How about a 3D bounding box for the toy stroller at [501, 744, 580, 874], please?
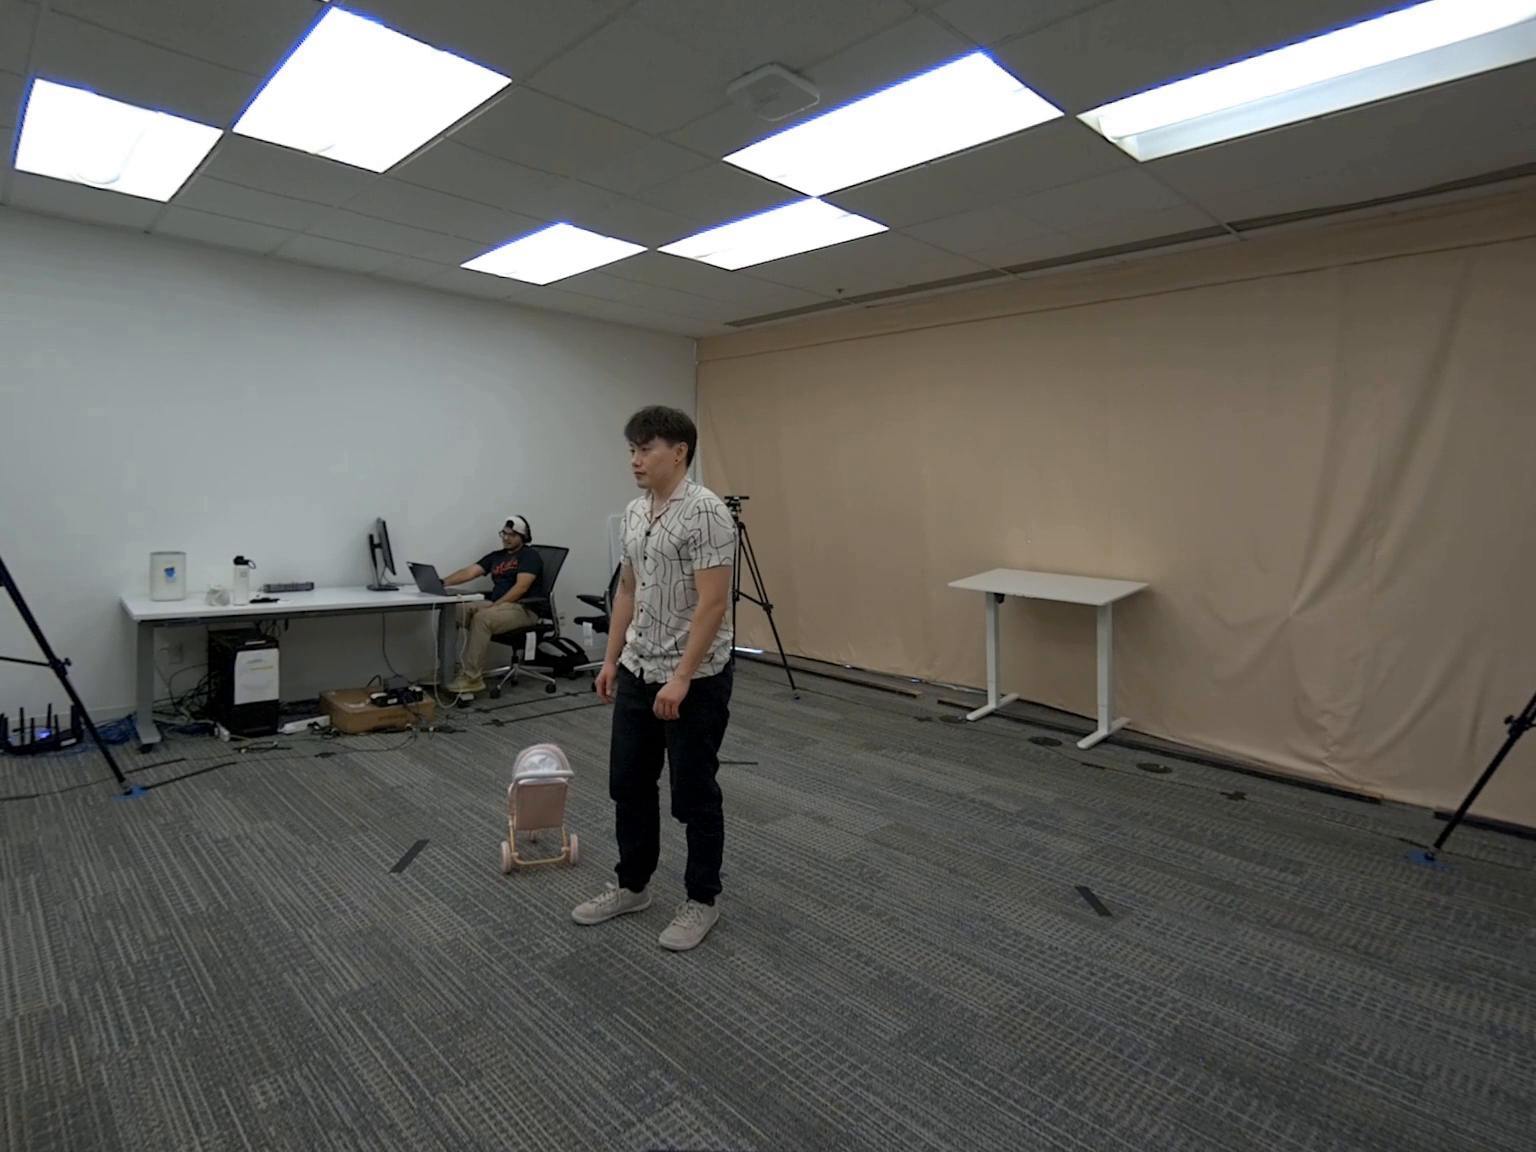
[{"bbox_3d":[-0.867,0.858,3.173,0.278,0.528,0.350,1,22,-16],"label":"toy stroller"}]
